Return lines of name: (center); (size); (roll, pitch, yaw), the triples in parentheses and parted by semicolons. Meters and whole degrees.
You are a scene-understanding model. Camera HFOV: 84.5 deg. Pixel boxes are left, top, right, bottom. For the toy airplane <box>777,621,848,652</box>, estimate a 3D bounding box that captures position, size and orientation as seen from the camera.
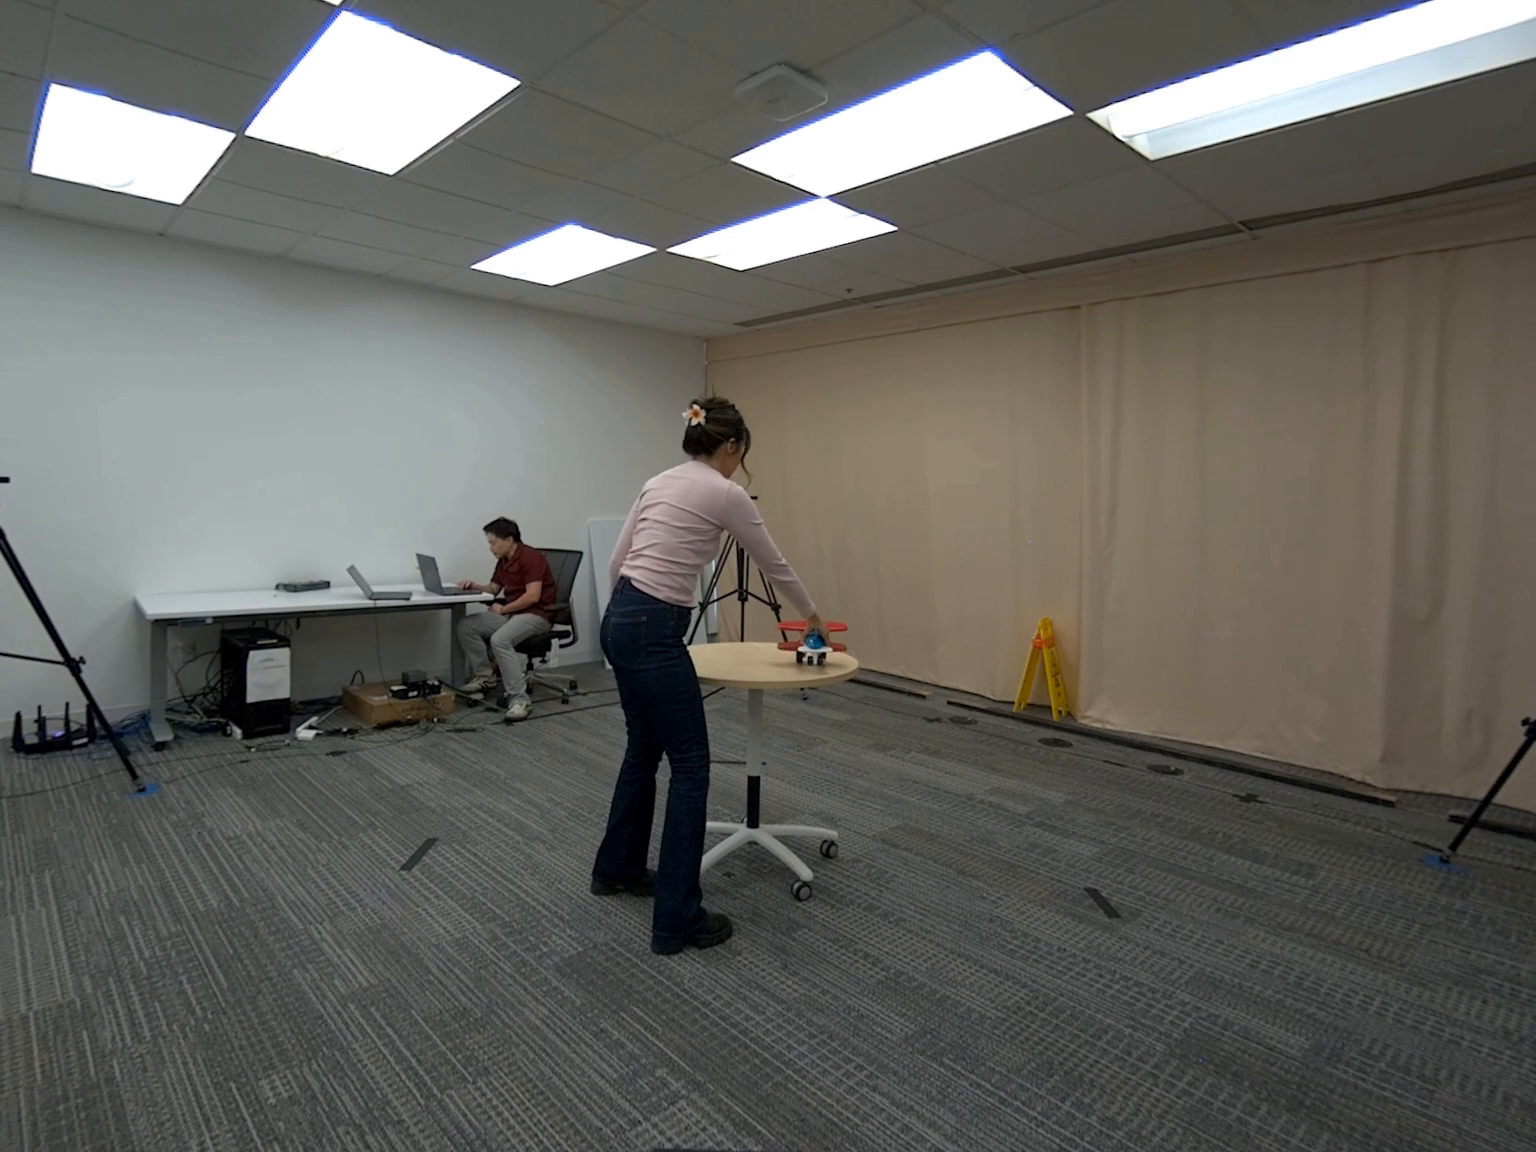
toy airplane: (0.182, 0.245, 3.048); (0.246, 0.157, 0.263); (5, -7, -26)
